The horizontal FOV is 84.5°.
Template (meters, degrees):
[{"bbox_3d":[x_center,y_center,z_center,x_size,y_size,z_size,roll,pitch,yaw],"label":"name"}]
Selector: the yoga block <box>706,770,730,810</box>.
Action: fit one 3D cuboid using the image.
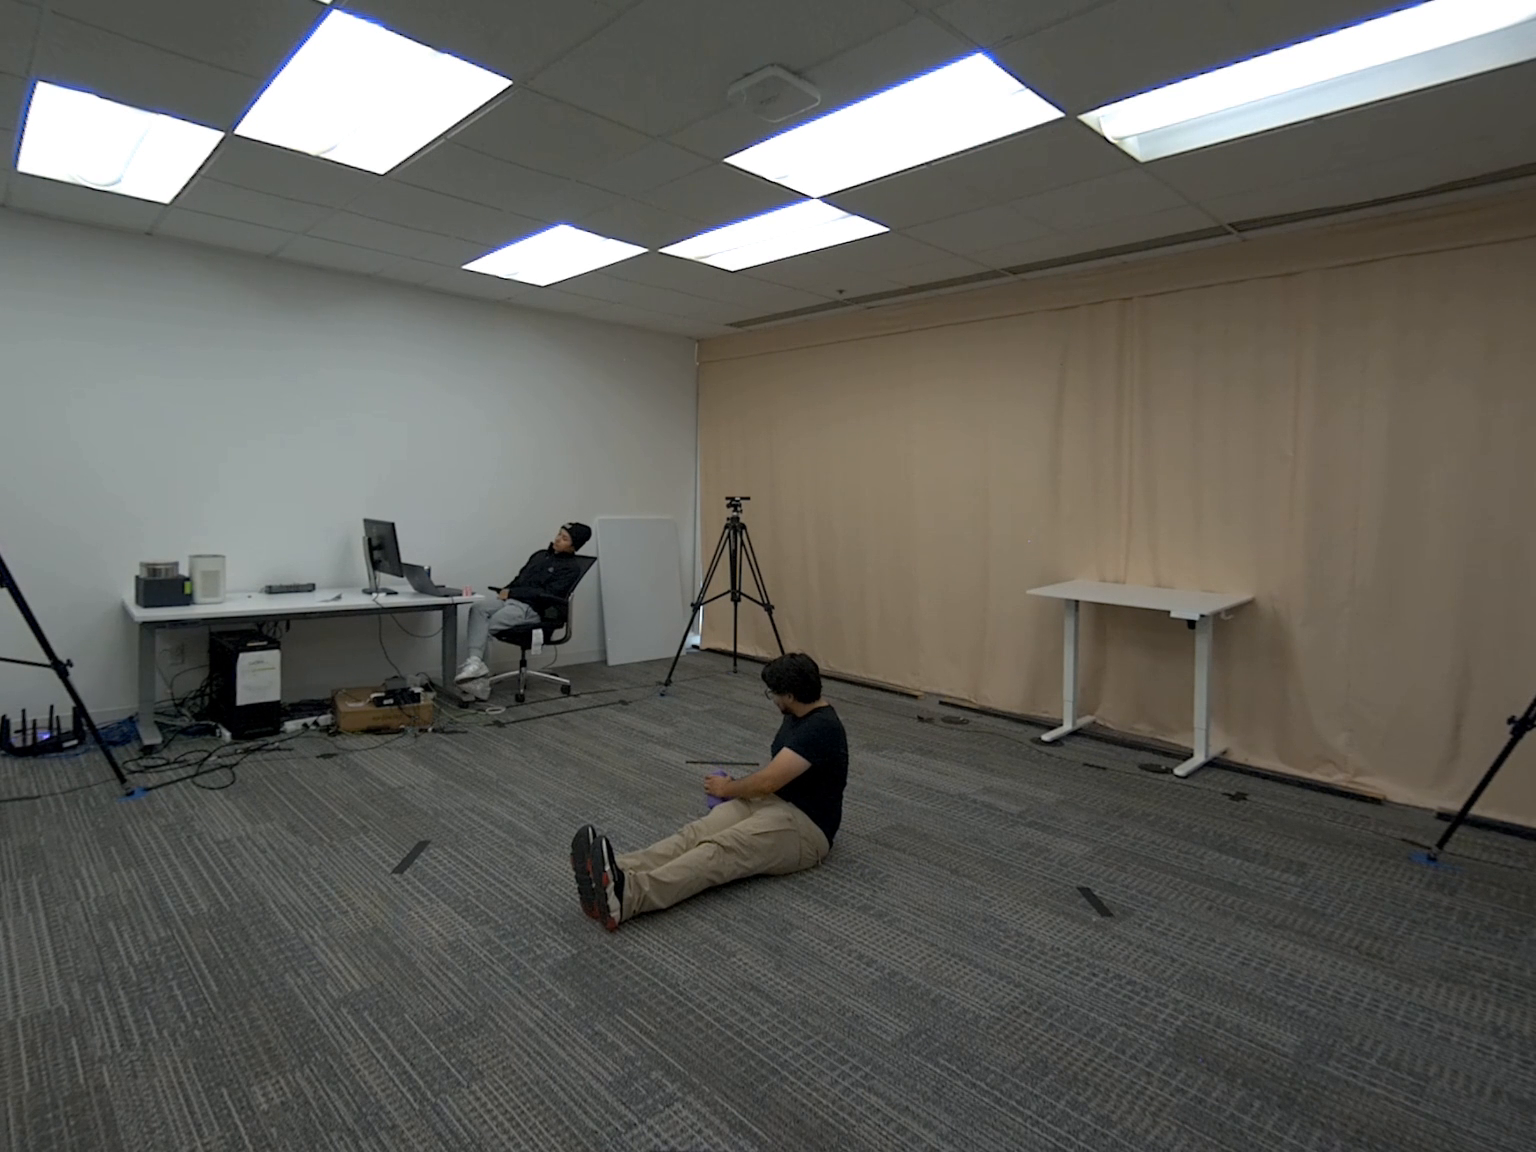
[{"bbox_3d":[-0.171,0.911,3.504,0.077,0.152,0.222,-11,-33,14],"label":"yoga block"}]
